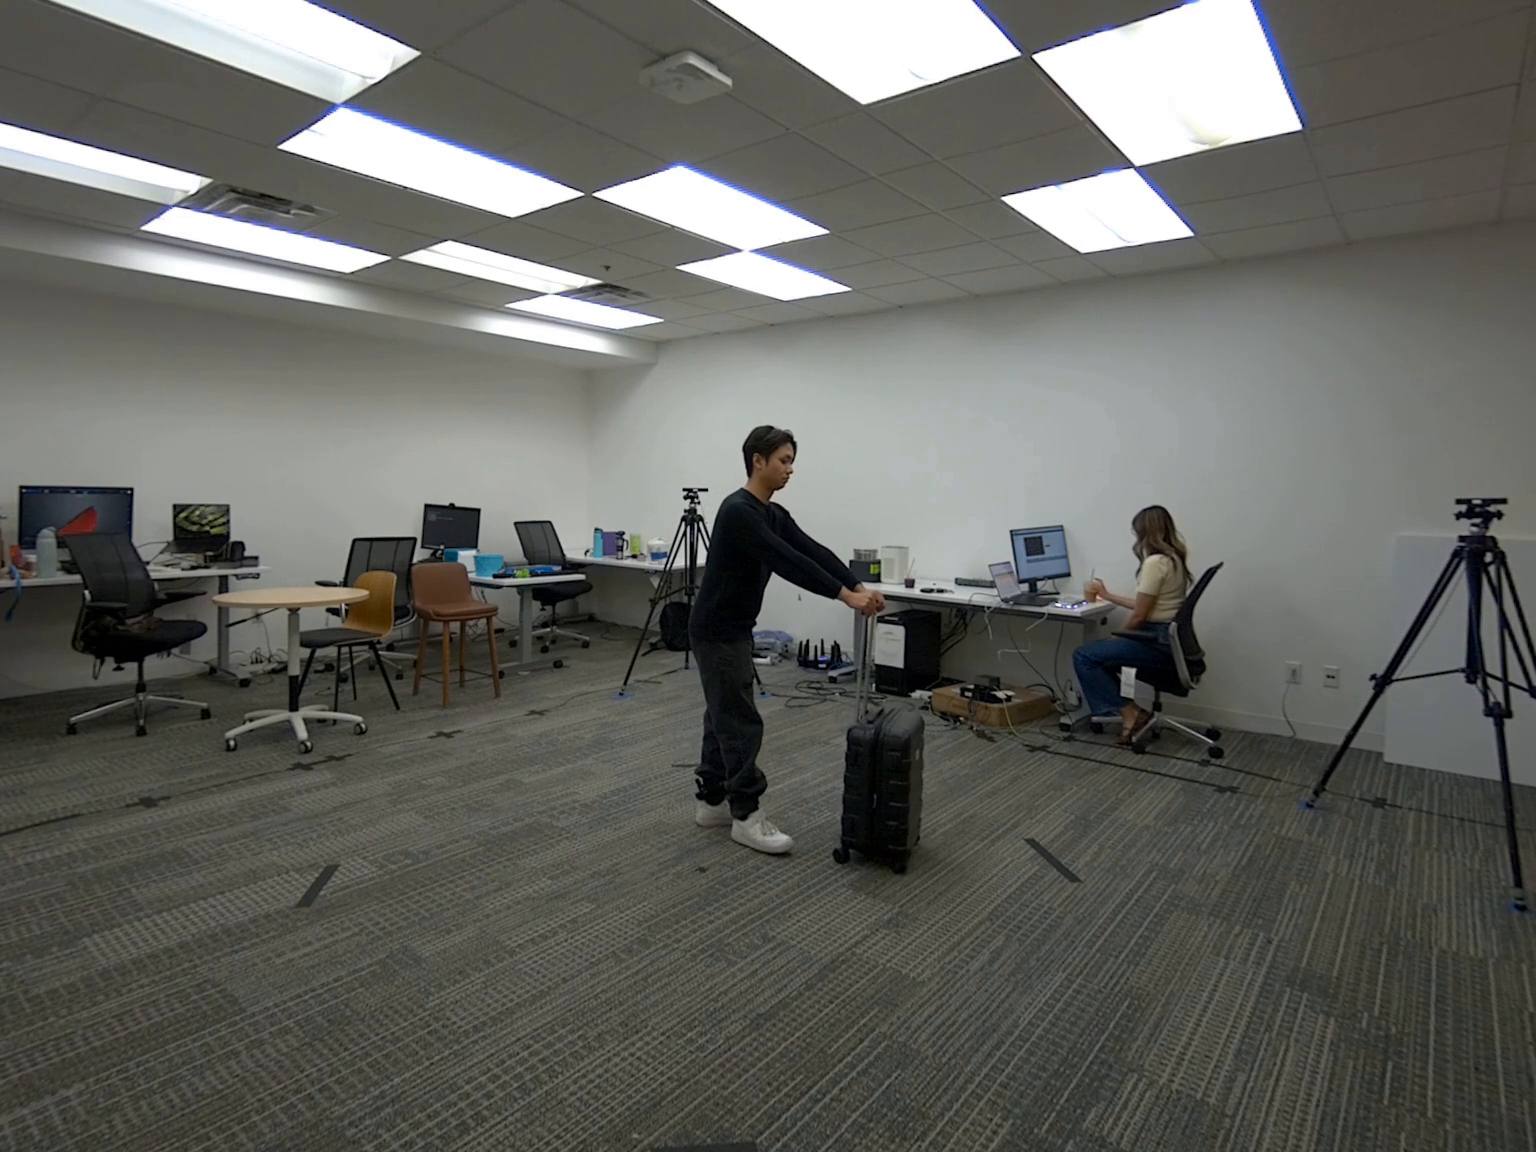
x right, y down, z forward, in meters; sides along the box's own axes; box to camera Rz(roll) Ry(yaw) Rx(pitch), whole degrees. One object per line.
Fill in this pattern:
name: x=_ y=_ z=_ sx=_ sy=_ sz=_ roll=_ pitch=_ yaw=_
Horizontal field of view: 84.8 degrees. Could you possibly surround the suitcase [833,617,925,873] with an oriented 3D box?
suitcase: x=0.454 y=0.593 z=3.248 sx=0.262 sy=0.974 sz=0.378 roll=5 pitch=5 yaw=18
